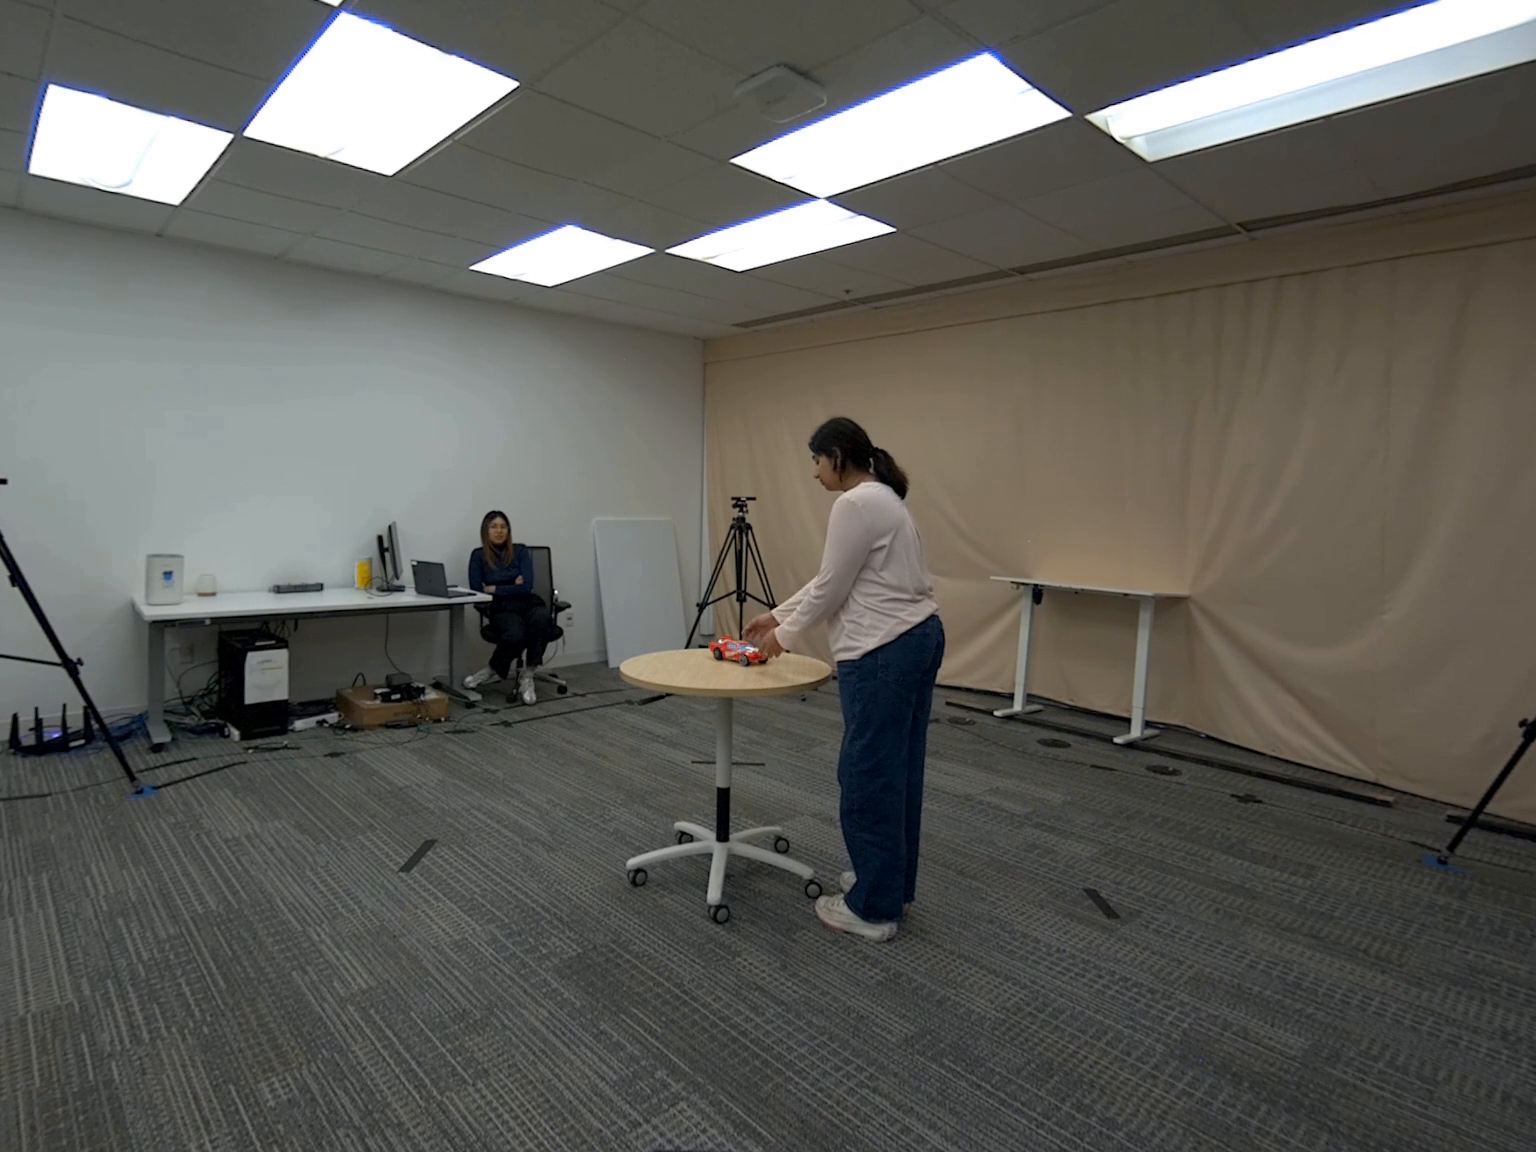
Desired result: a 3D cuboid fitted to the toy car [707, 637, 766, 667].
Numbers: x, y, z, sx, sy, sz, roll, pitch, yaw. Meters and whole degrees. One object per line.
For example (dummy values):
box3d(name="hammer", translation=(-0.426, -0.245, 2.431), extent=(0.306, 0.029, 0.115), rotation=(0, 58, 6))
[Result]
box3d(name="toy car", translation=(-0.121, 0.288, 3.160), extent=(0.127, 0.082, 0.262), rotation=(-5, 18, -42))
